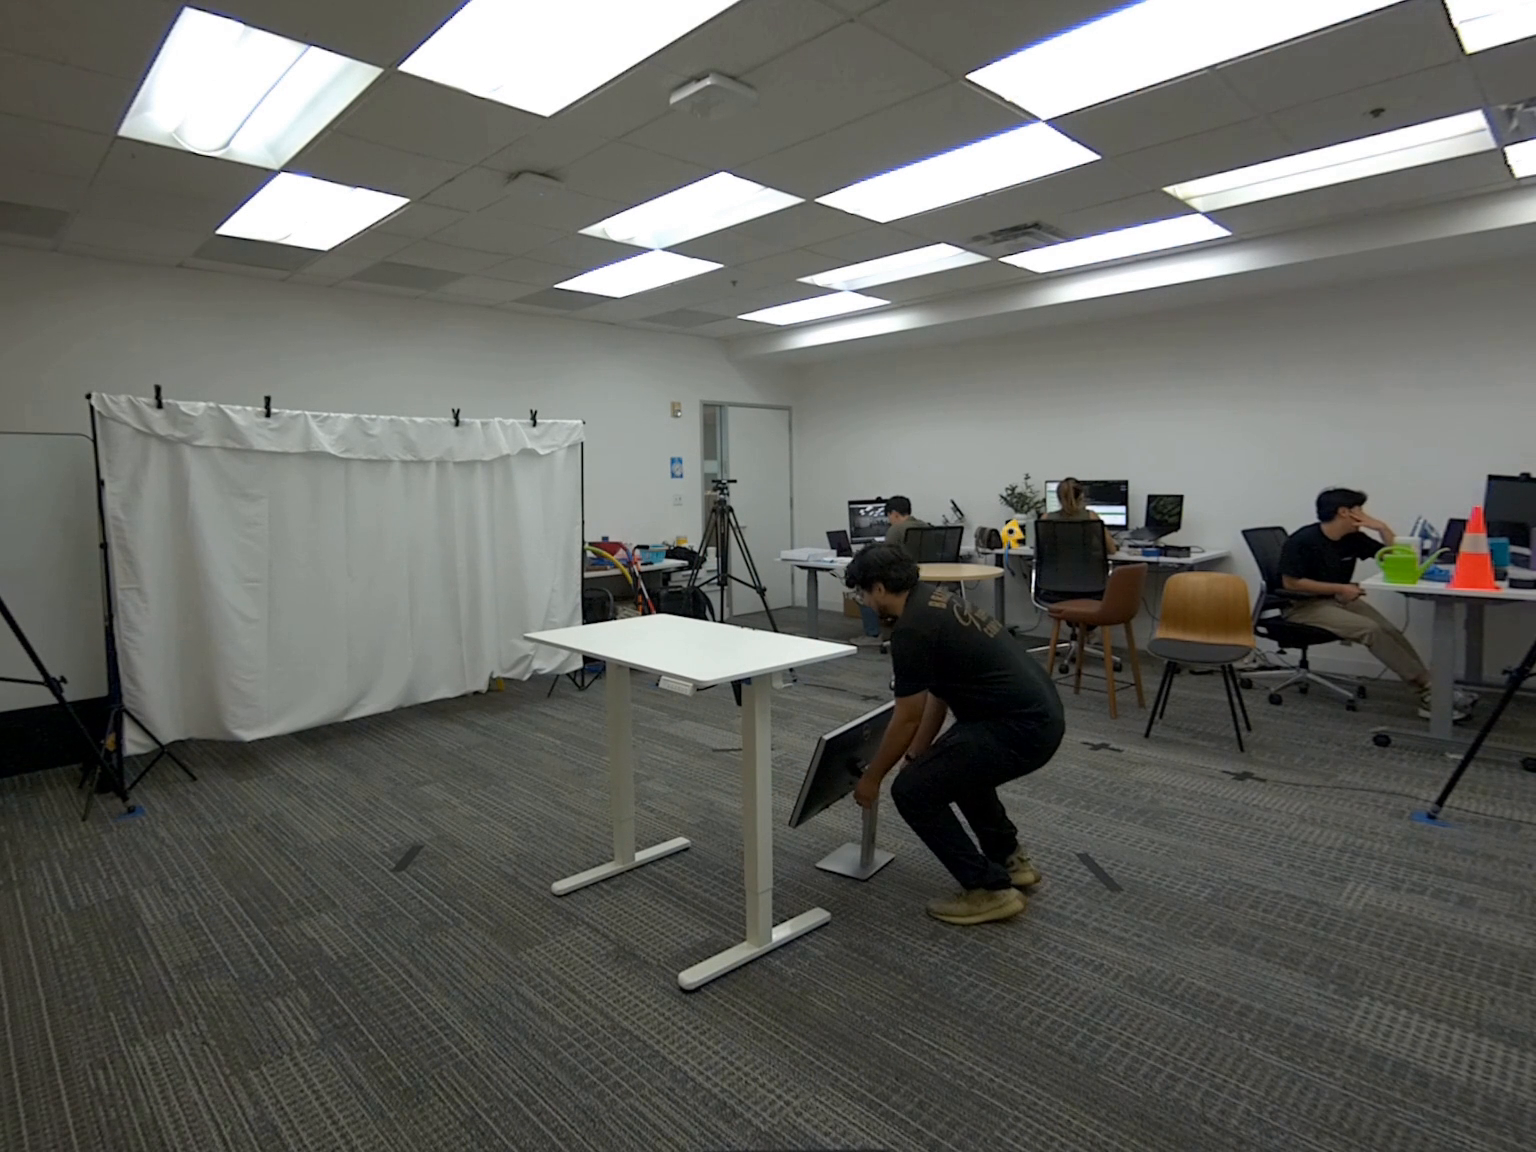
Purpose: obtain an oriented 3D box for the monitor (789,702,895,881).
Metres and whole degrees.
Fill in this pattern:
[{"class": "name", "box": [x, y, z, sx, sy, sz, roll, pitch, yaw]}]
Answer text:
[{"class": "monitor", "box": [0.341, 0.777, 3.067, 0.217, 0.549, 0.551, 14, 13, 34]}]
